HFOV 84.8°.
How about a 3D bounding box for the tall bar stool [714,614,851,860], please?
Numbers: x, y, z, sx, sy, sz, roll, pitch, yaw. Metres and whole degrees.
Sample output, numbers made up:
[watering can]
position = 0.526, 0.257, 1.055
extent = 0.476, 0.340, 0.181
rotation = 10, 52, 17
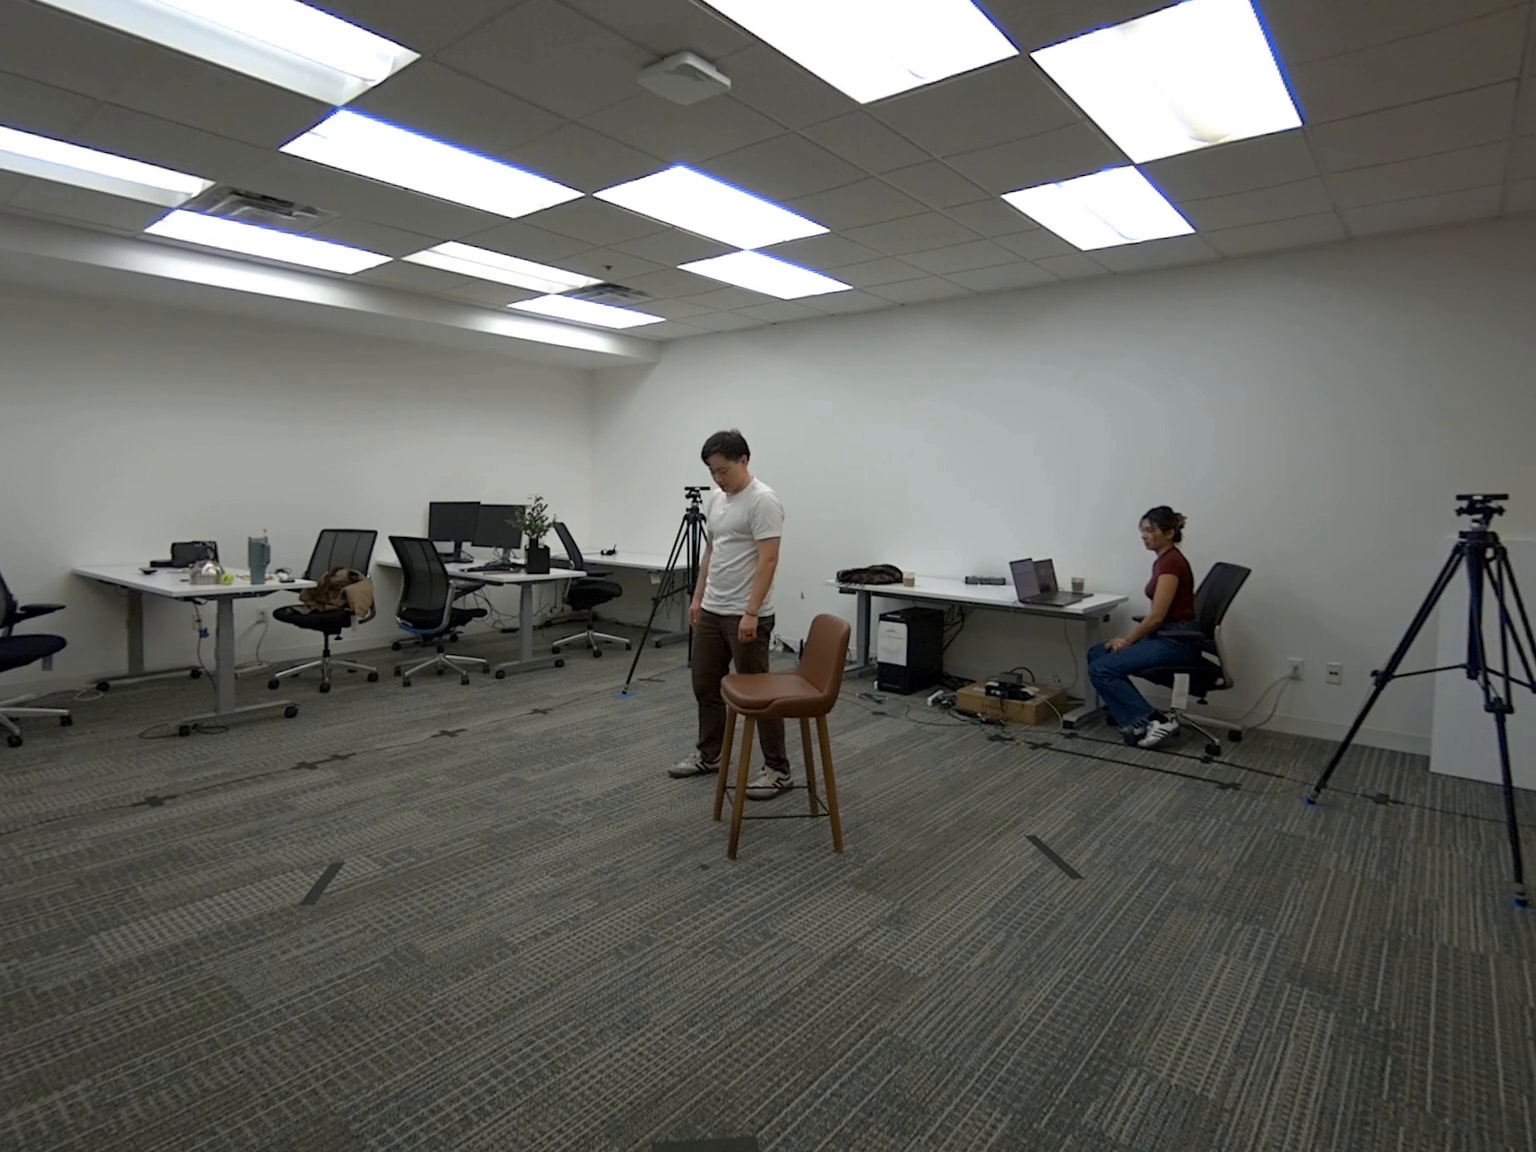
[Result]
[tall bar stool]
position = 0.039, 0.606, 3.394
extent = 0.462, 0.887, 0.463
rotation = 2, 3, -12
